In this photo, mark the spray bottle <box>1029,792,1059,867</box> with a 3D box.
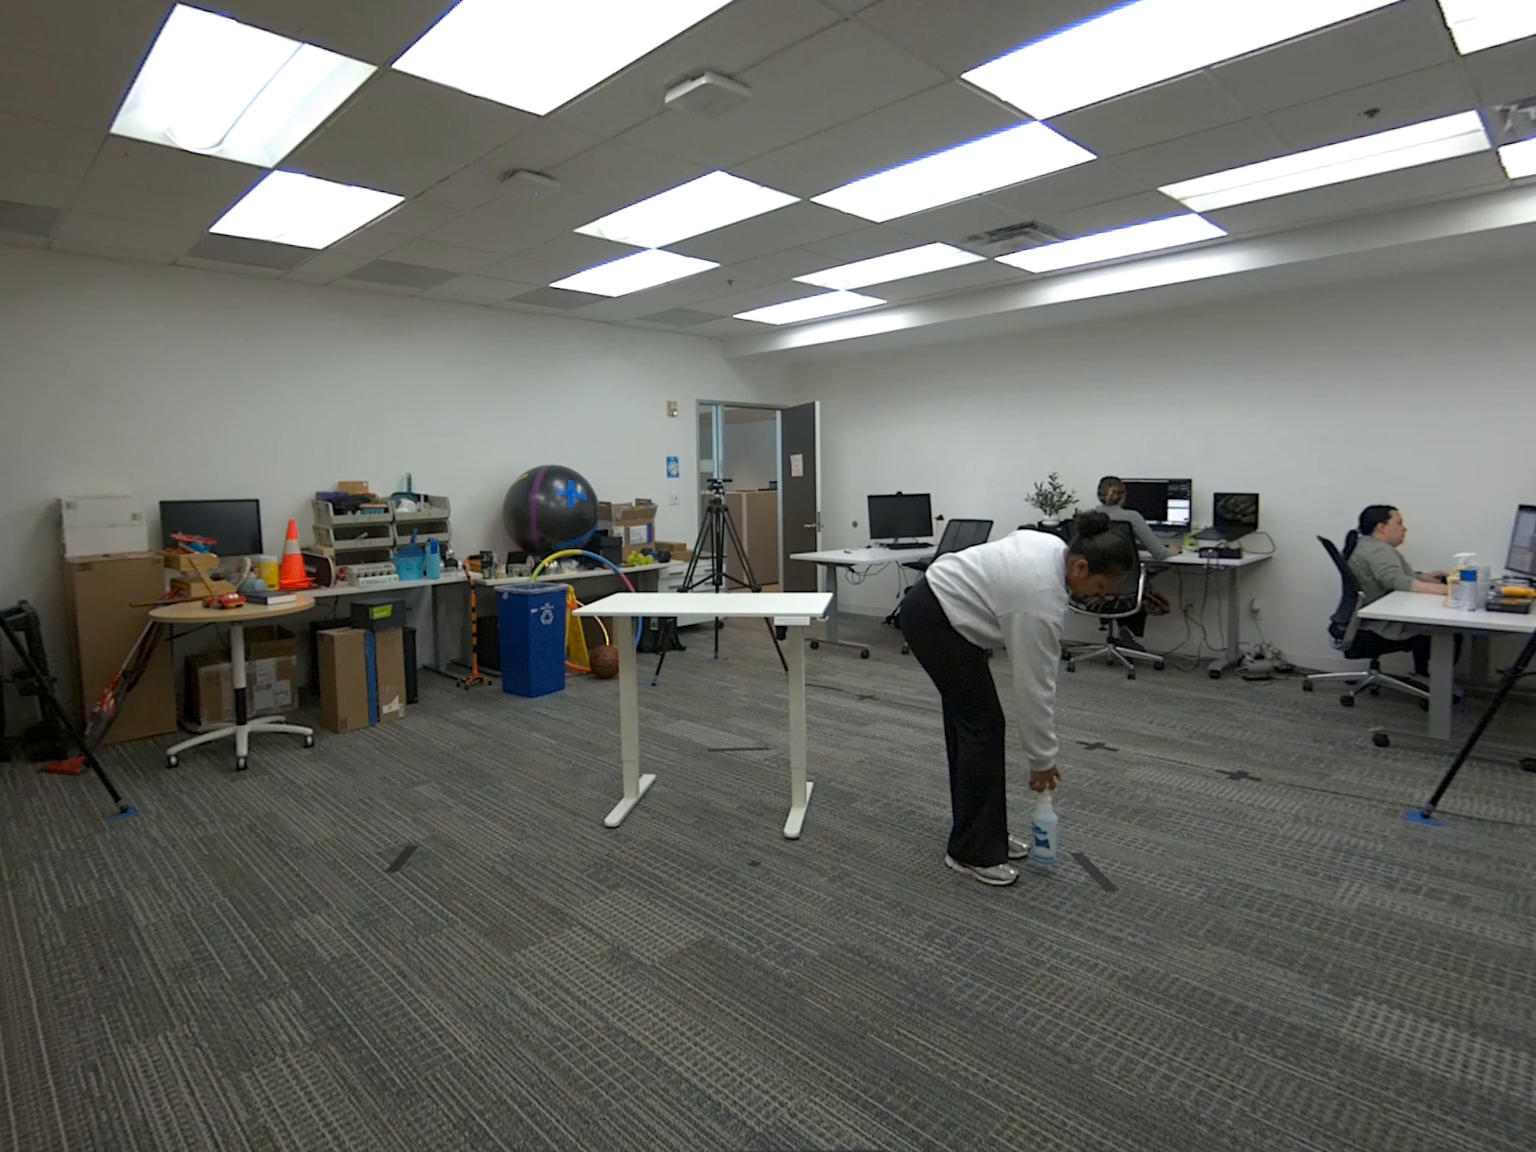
[{"bbox_3d":[0.957,0.832,2.980,0.091,0.297,0.086,-1,1,8],"label":"spray bottle"}]
